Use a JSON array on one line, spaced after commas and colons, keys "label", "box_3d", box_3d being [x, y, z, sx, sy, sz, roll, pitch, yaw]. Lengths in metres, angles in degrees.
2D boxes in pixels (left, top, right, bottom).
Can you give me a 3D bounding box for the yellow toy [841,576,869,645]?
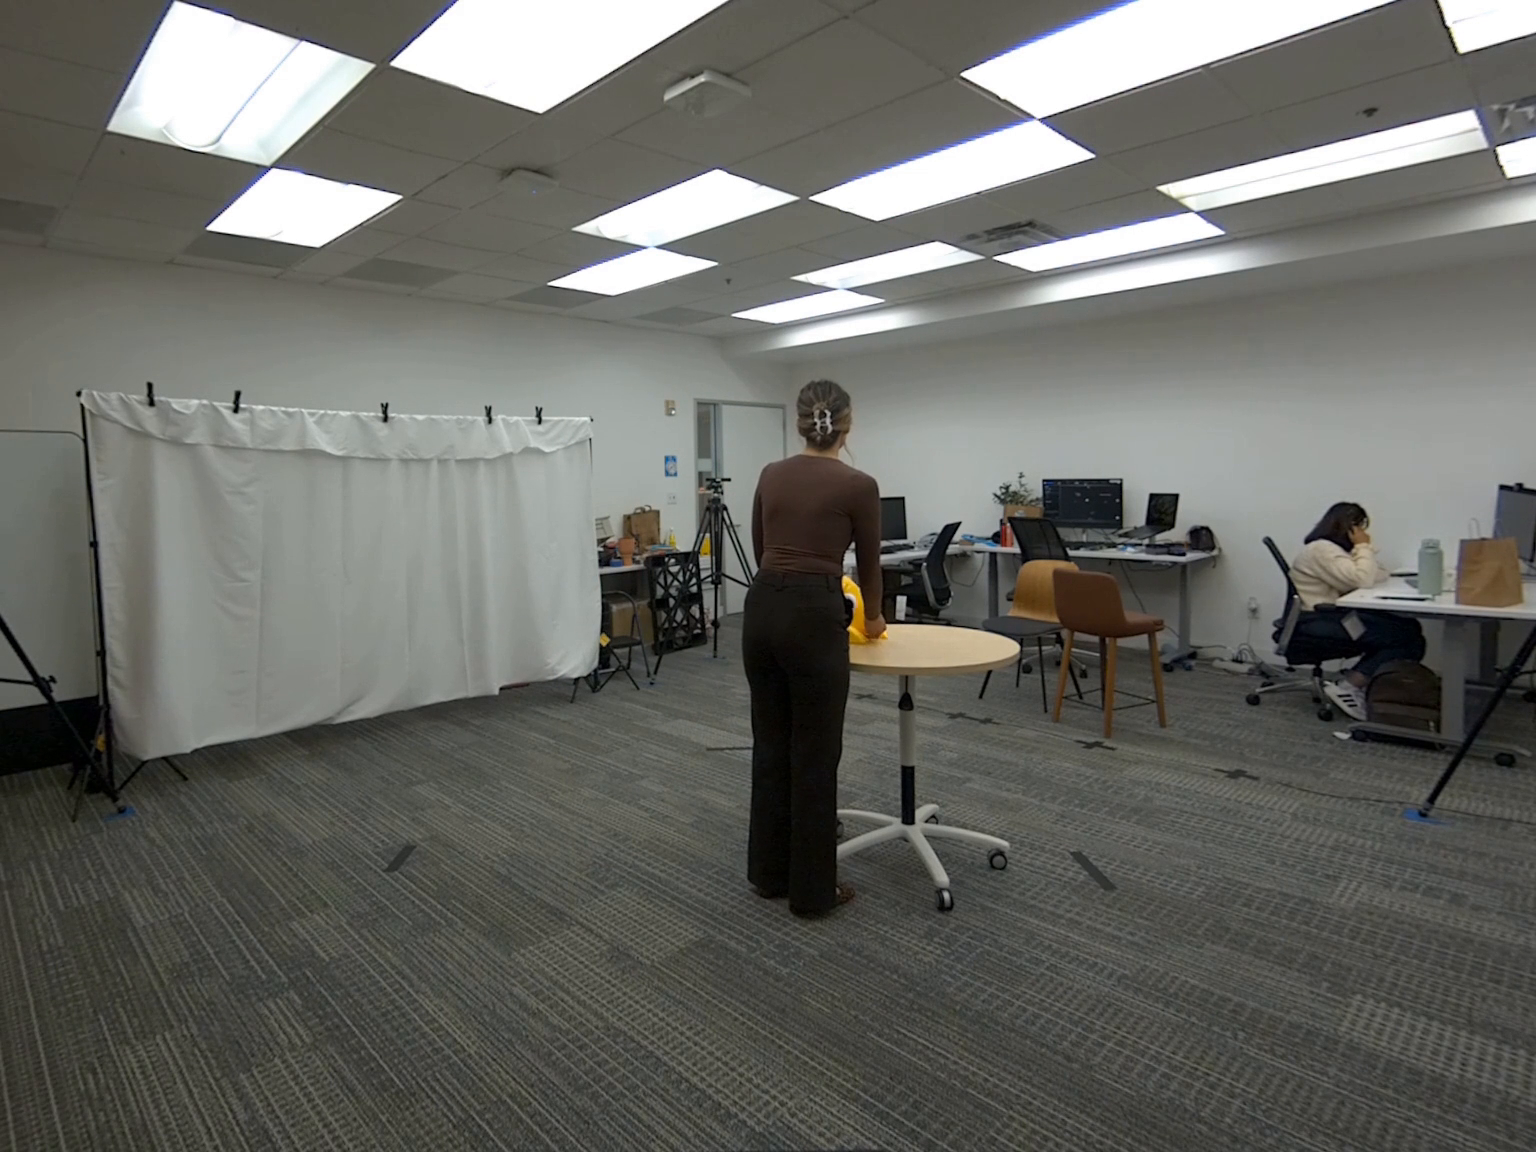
[{"label": "yellow toy", "box_3d": [0.336, 0.109, 3.158, 0.199, 0.229, 0.199, -6, 8, -42]}]
